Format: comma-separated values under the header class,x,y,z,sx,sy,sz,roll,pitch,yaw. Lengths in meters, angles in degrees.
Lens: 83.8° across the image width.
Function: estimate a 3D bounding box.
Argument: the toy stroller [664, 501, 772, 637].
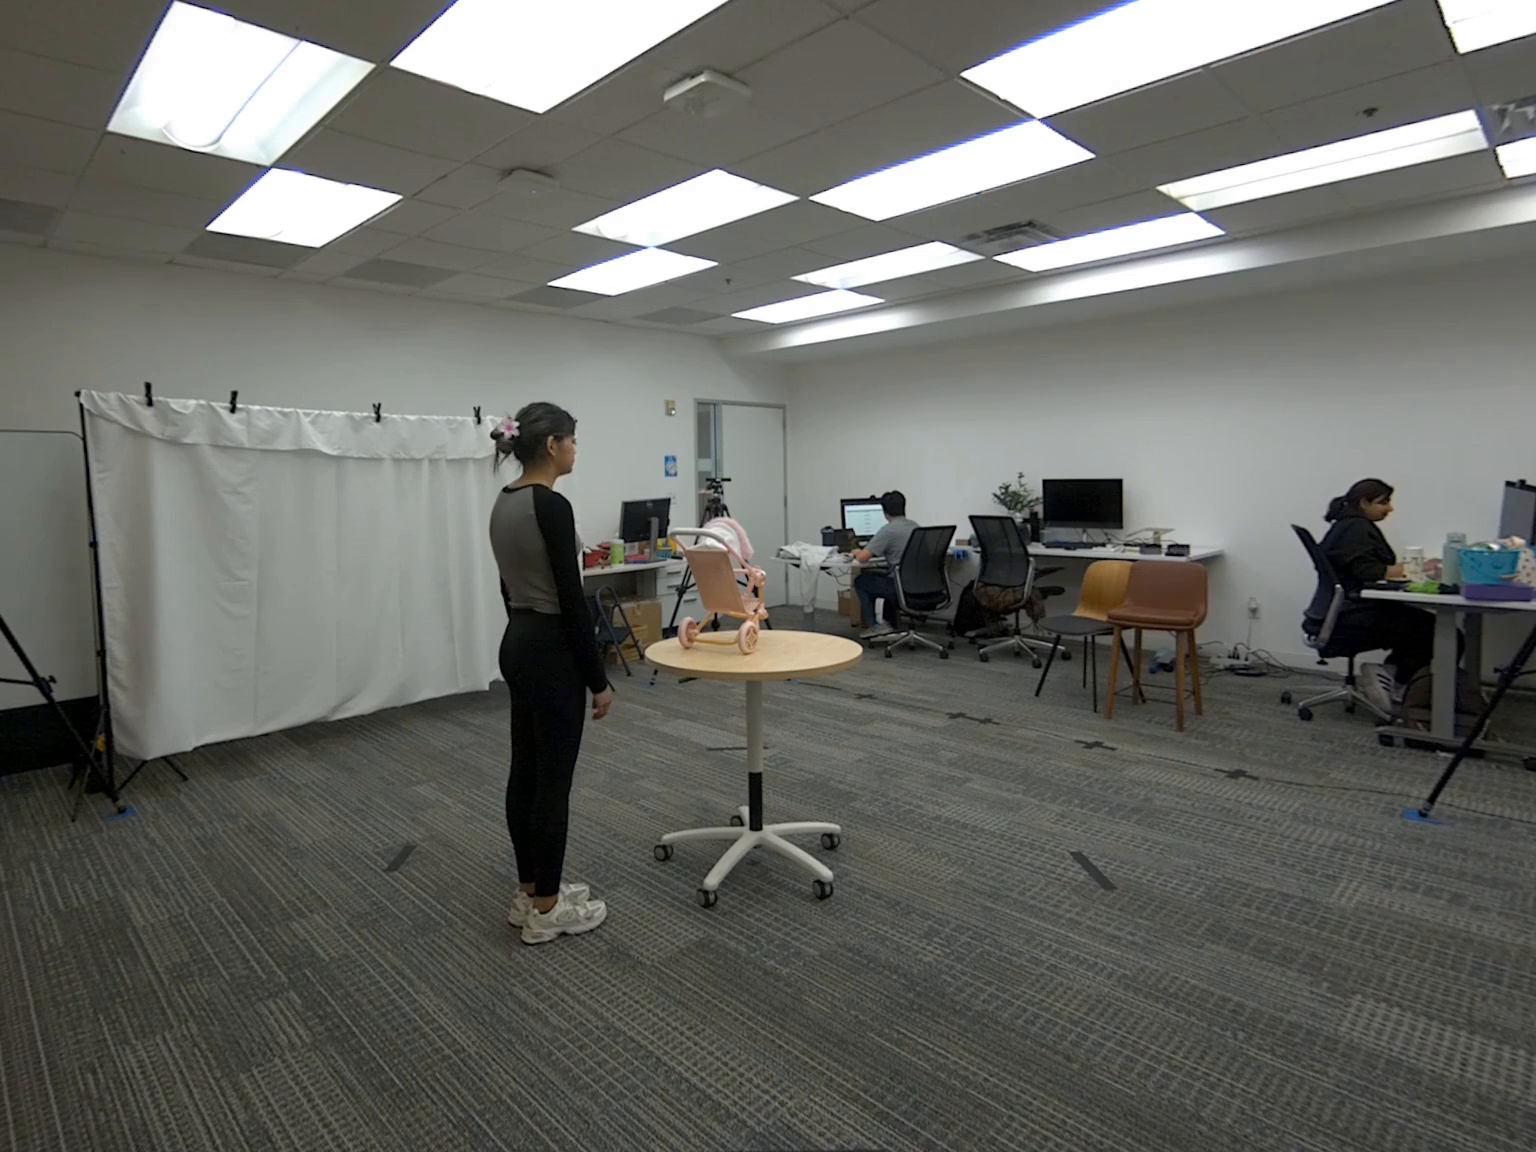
class,x,y,z,sx,sy,sz,roll,pitch,yaw
toy stroller,-0.145,0.032,3.045,0.289,0.526,0.337,2,20,34
